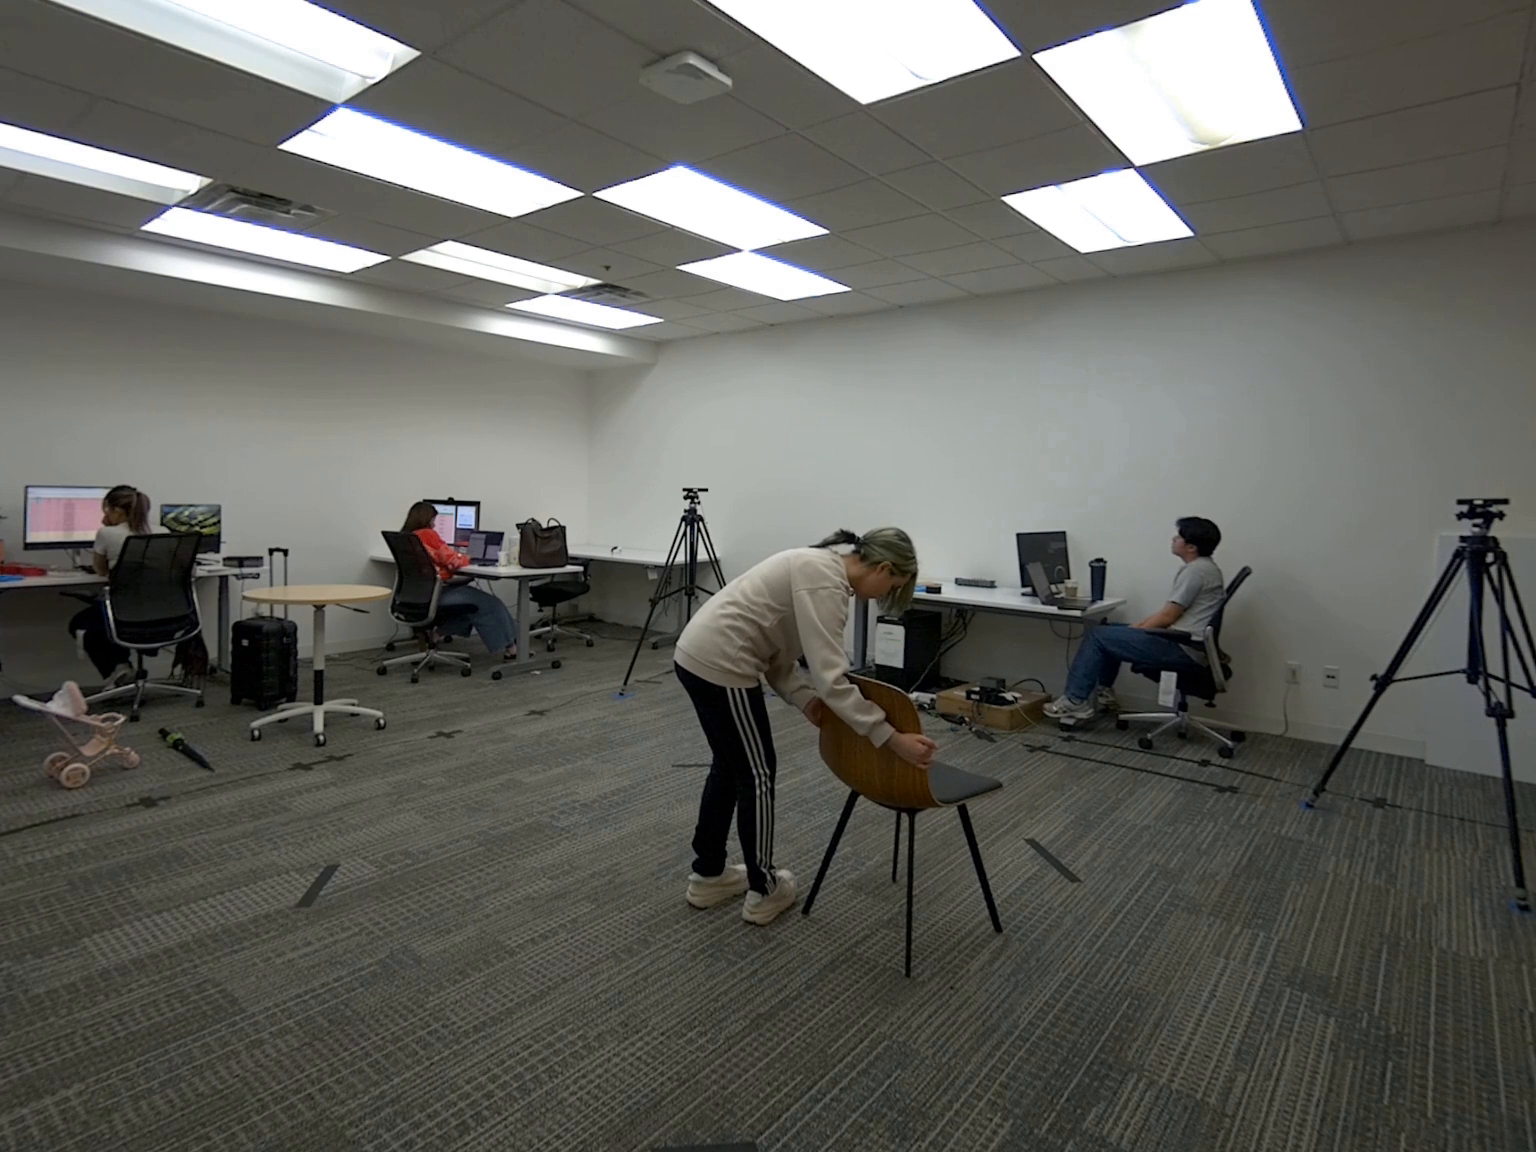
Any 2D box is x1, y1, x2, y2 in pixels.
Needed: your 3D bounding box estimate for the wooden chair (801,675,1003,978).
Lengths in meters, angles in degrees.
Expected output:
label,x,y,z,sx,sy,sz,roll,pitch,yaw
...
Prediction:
label,x,y,z,sx,sy,sz,roll,pitch,yaw
wooden chair,0.445,0.693,2.731,0.508,0.873,0.494,-6,7,-40
